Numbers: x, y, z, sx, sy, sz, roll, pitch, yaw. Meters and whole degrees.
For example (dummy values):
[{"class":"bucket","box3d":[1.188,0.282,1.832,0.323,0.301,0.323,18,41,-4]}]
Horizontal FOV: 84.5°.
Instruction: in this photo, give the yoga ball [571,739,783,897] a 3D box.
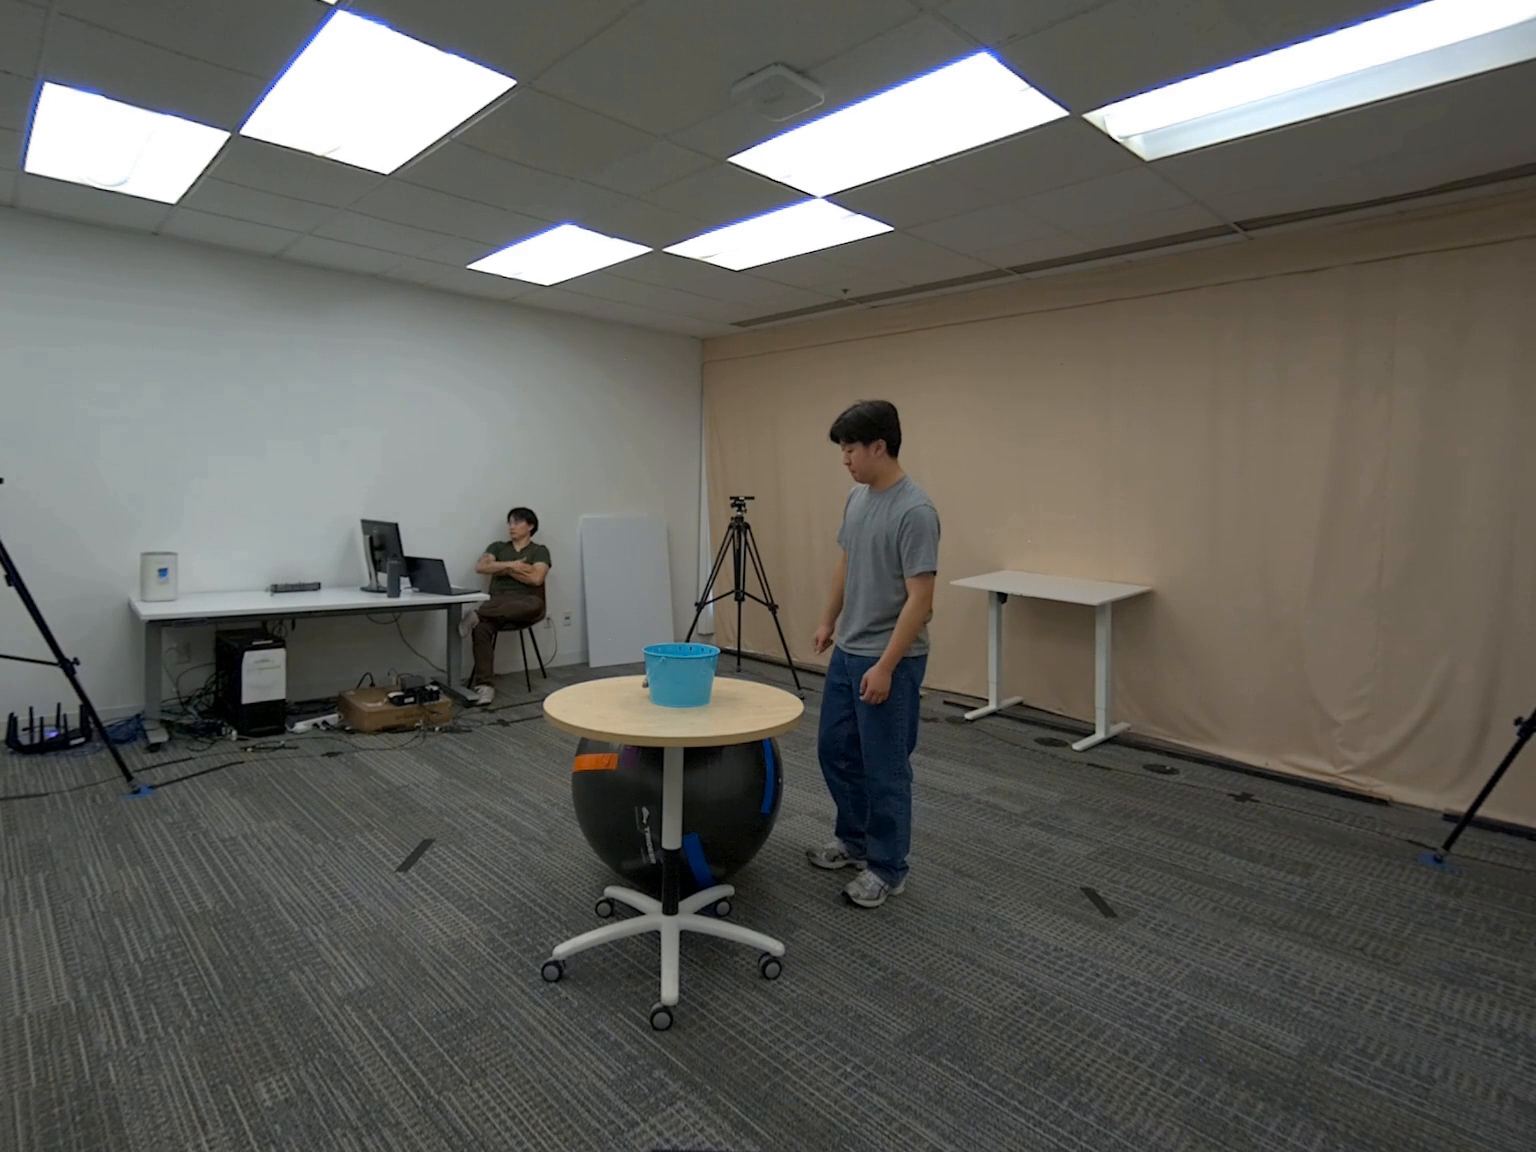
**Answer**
[{"class":"yoga ball","box3d":[-0.334,0.733,3.033,0.757,0.756,0.761,1,4,-1]}]
